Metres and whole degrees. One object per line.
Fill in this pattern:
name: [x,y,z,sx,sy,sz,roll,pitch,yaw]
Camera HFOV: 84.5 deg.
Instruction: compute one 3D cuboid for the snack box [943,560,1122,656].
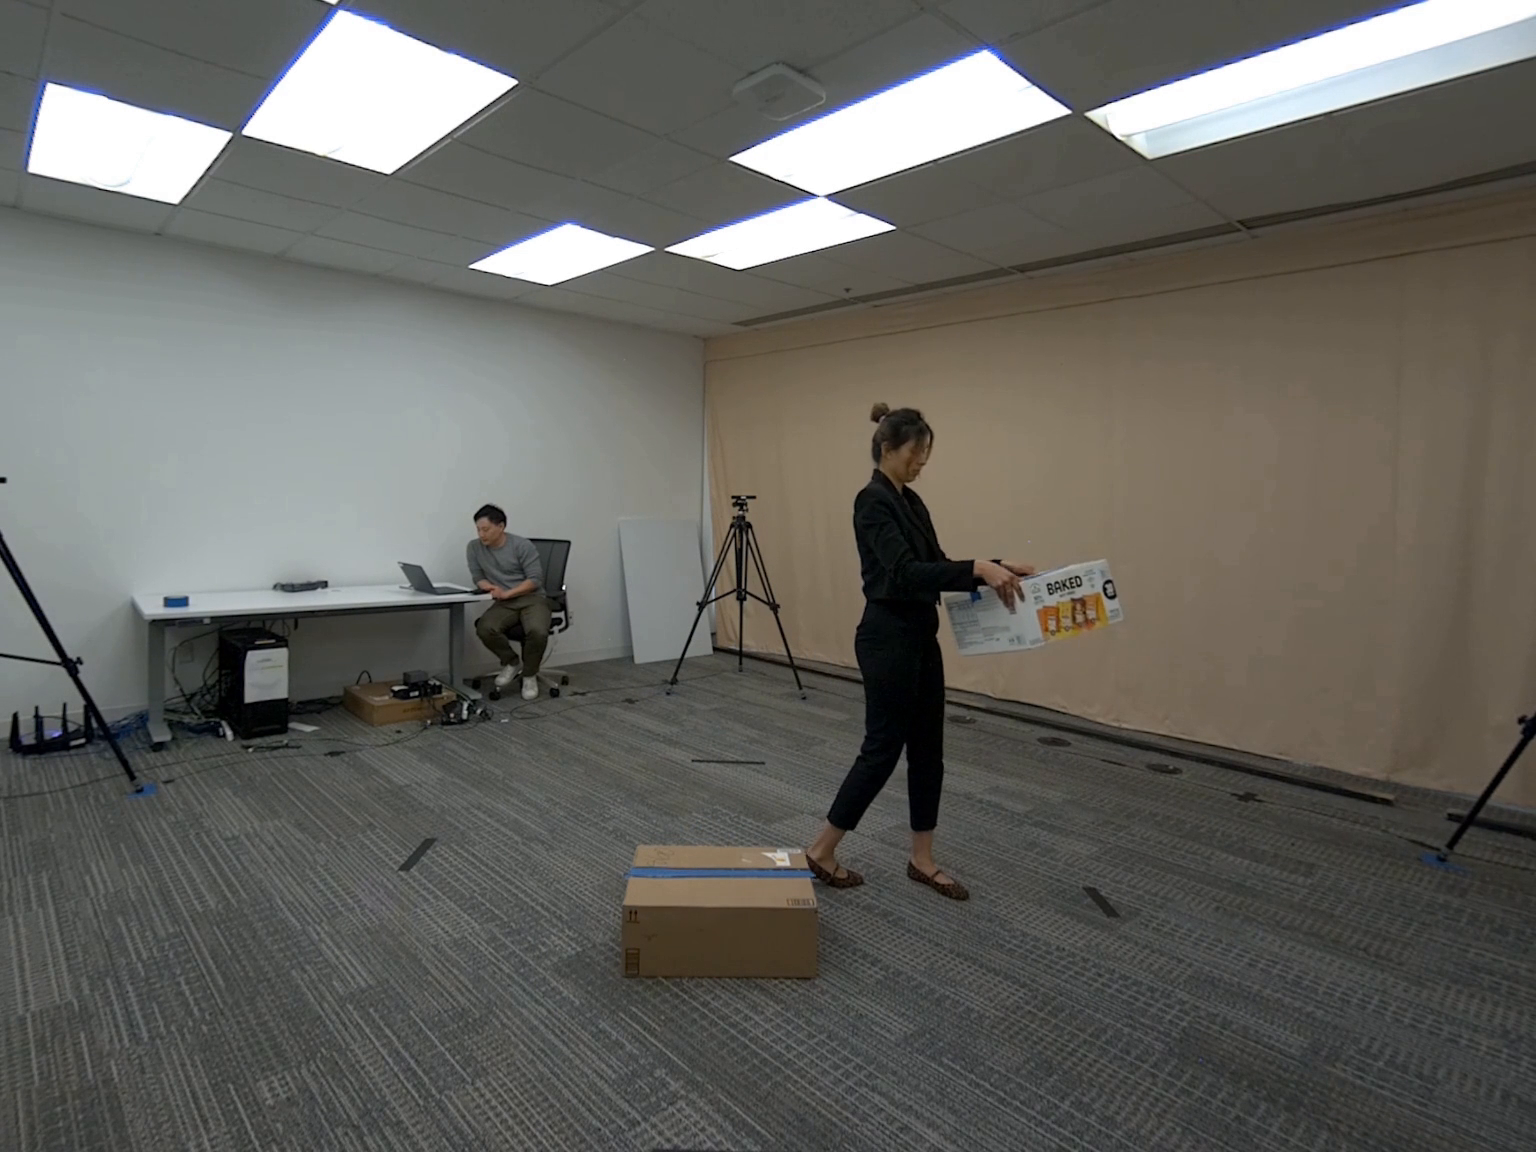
snack box: [0.847,0.107,2.741,0.399,0.206,0.344,-13,-4,-26]
